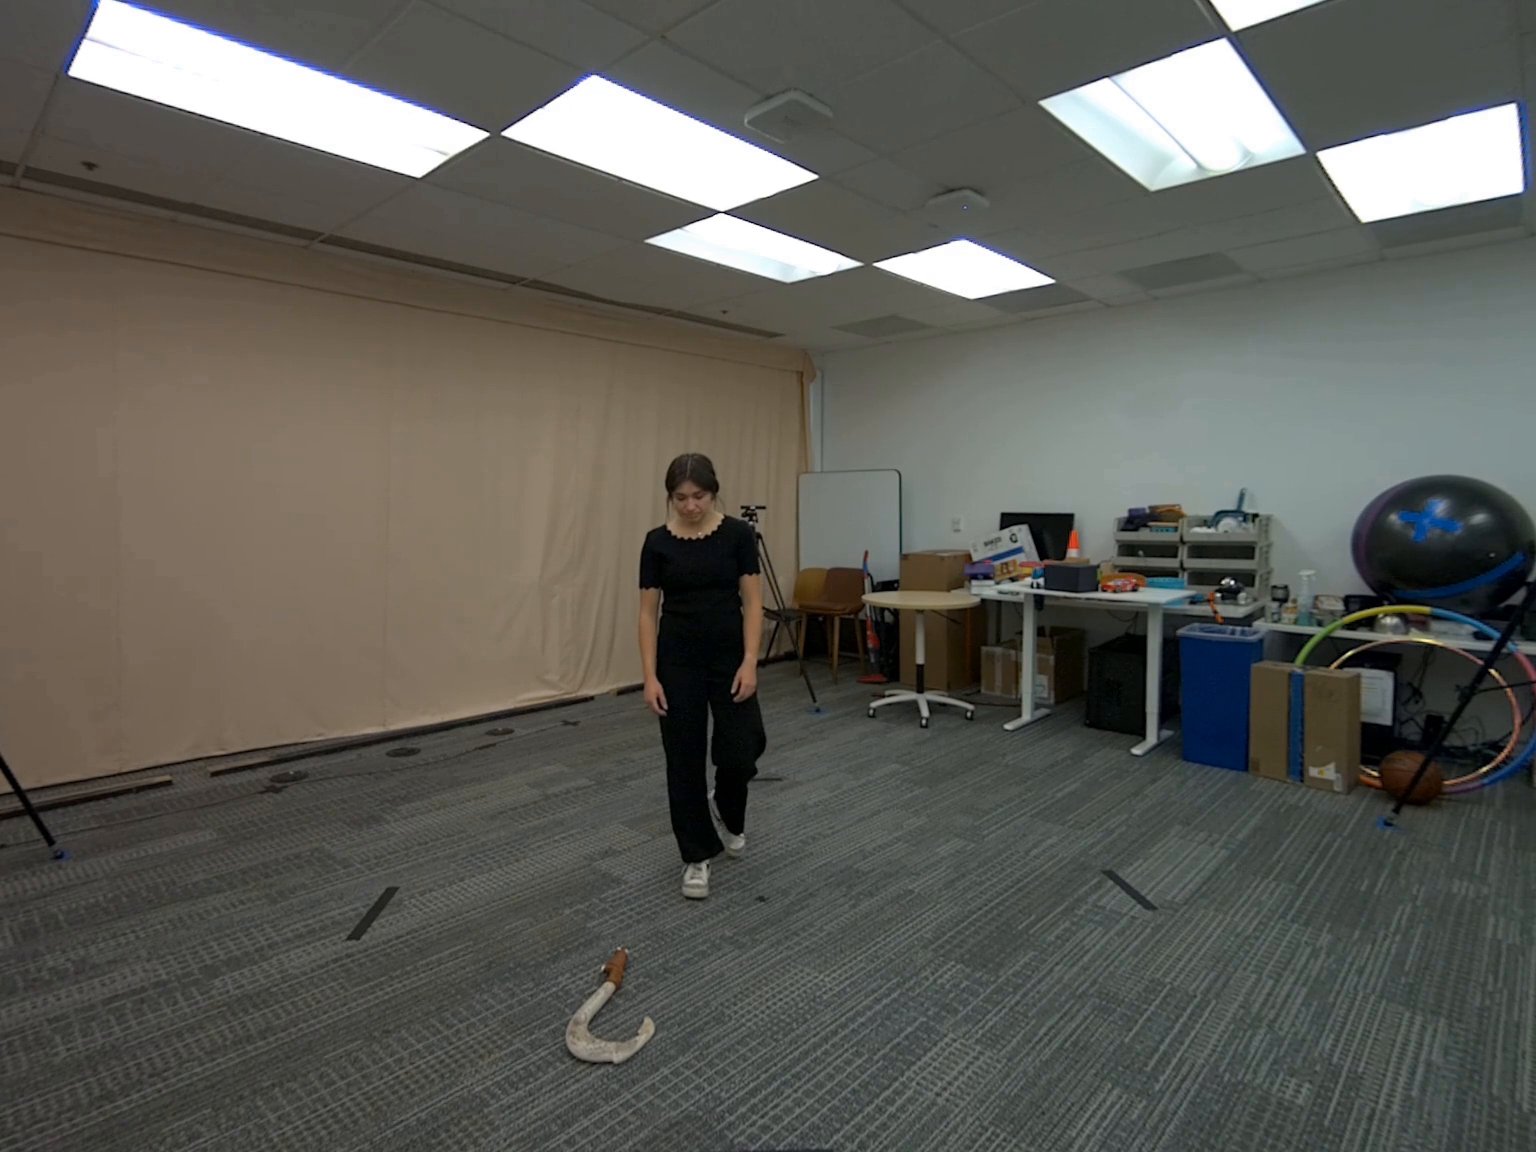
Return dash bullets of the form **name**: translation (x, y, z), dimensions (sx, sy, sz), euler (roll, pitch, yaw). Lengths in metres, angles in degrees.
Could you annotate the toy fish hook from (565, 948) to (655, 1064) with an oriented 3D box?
- **toy fish hook**: translation (-0.409, 1.184, 2.338), dimensions (0.225, 0.048, 0.506), euler (7, 5, 2)
